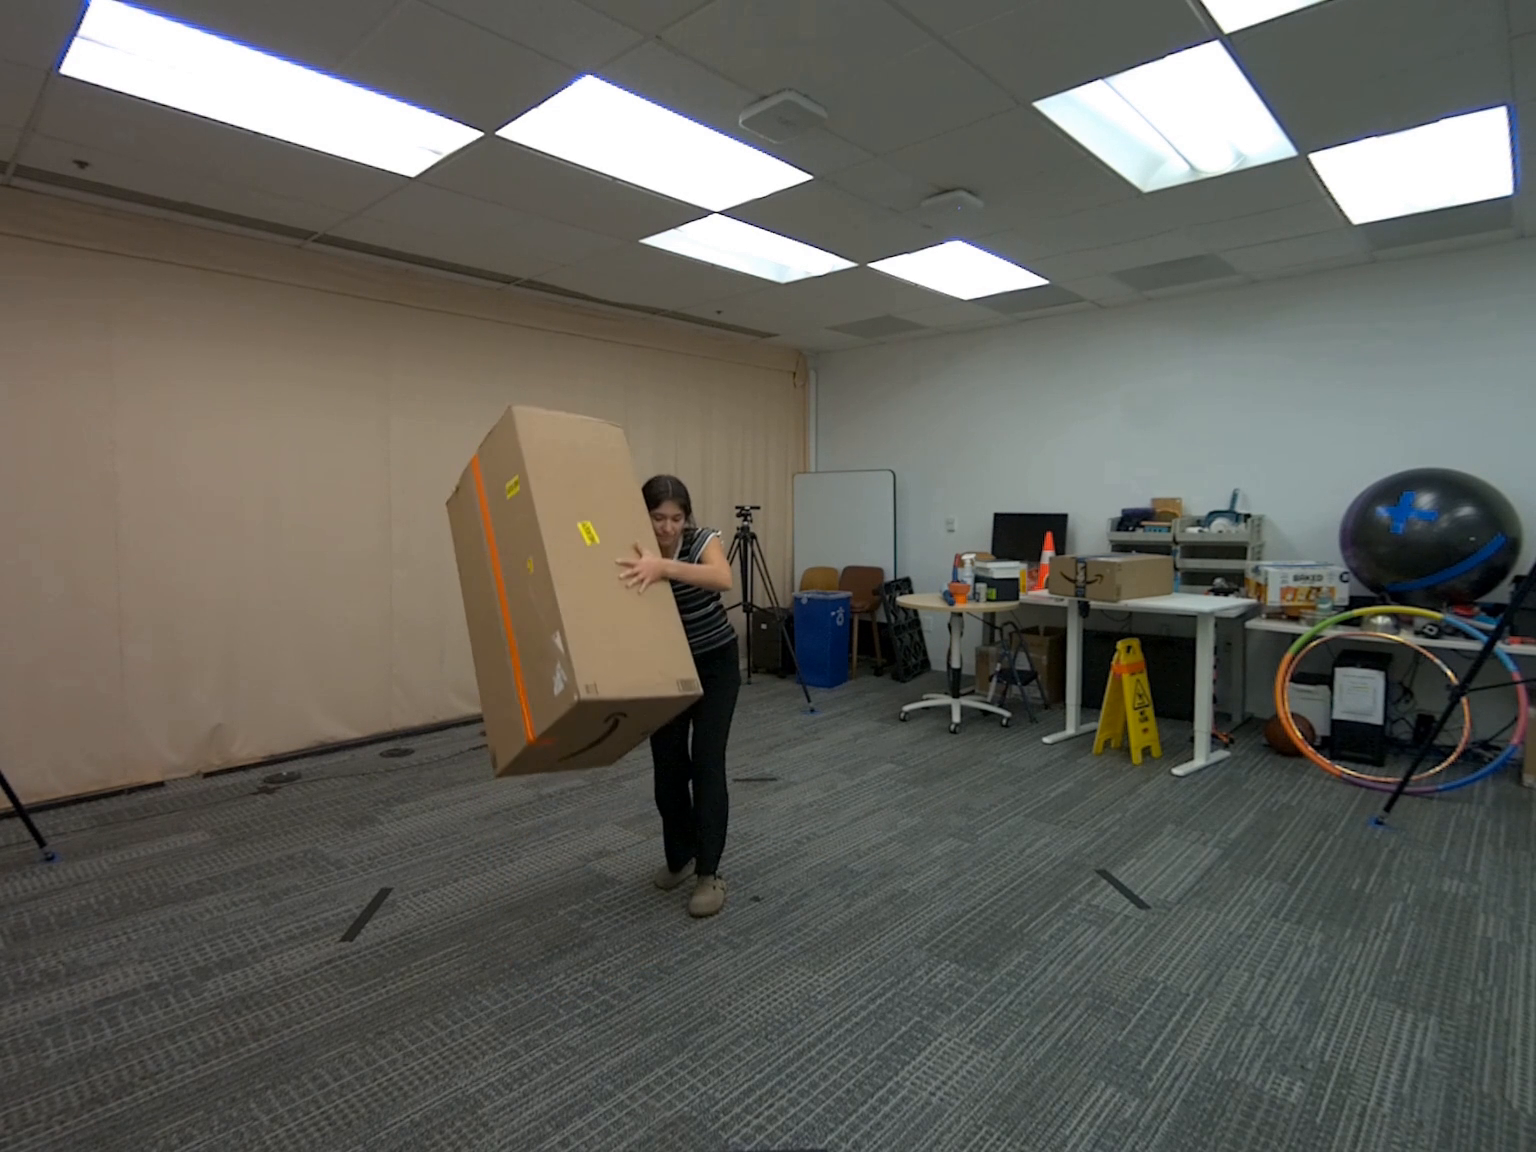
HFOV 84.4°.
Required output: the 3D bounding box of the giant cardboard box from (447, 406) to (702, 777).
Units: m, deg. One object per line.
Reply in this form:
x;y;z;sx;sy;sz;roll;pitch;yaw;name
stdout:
-0.675;0.051;2.757;0.412;1.049;0.584;5;-36;-42;giant cardboard box
